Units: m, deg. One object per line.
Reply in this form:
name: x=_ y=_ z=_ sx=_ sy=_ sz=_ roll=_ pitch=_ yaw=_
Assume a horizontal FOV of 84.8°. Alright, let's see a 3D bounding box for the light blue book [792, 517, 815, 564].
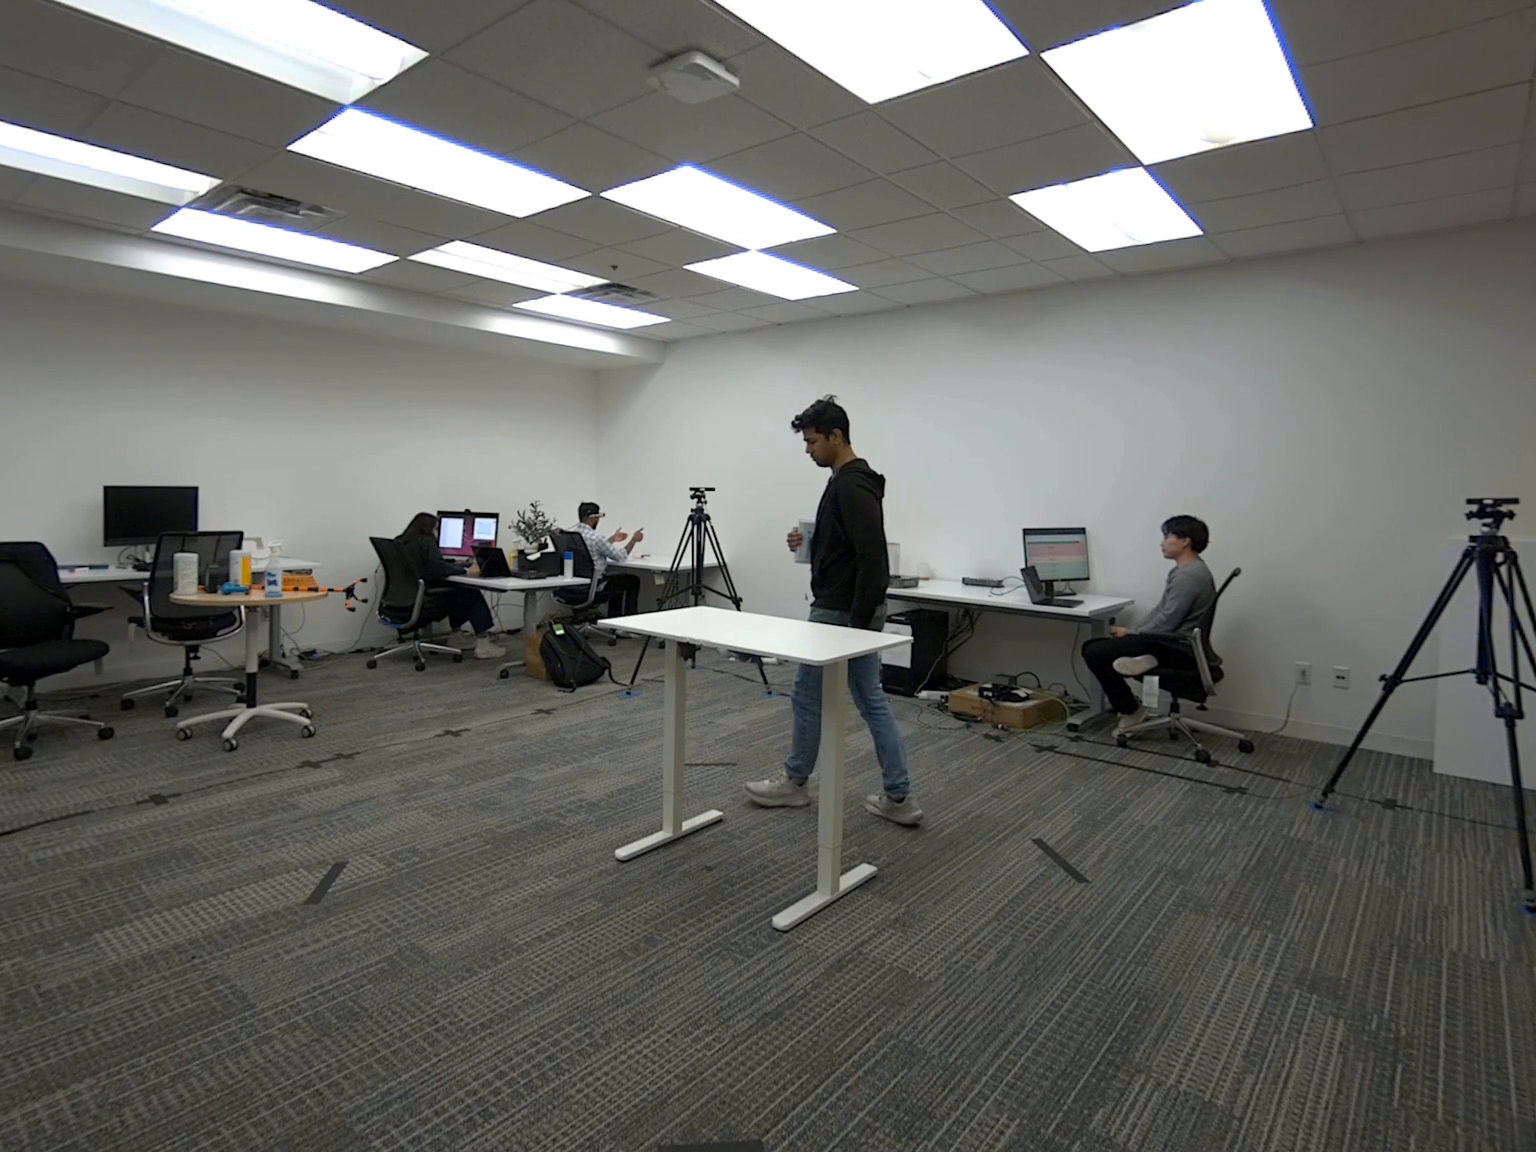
light blue book: x=0.254 y=-0.152 z=3.793 sx=0.259 sy=0.190 sz=0.060 roll=7 pitch=8 yaw=-7
